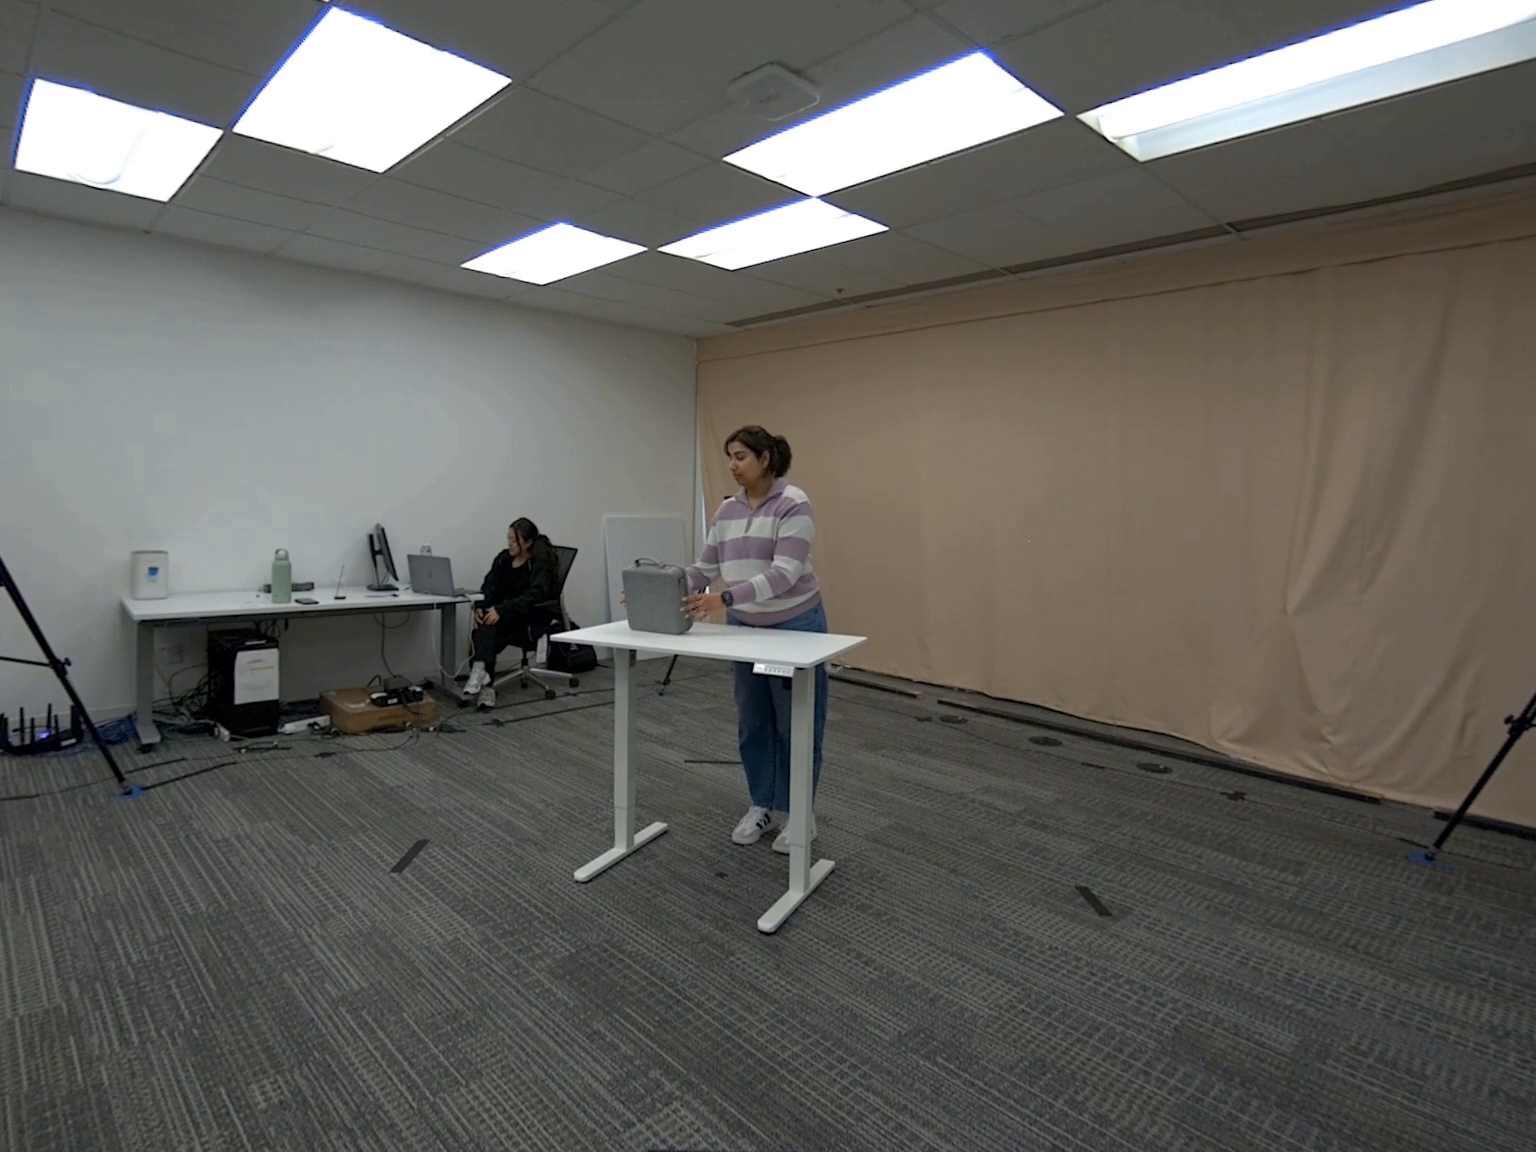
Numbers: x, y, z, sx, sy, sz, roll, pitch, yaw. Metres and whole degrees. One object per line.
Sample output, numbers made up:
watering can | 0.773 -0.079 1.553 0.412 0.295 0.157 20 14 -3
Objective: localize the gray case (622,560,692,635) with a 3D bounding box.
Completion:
gray case | -0.424 0.080 3.154 0.262 0.258 0.103 2 14 32
